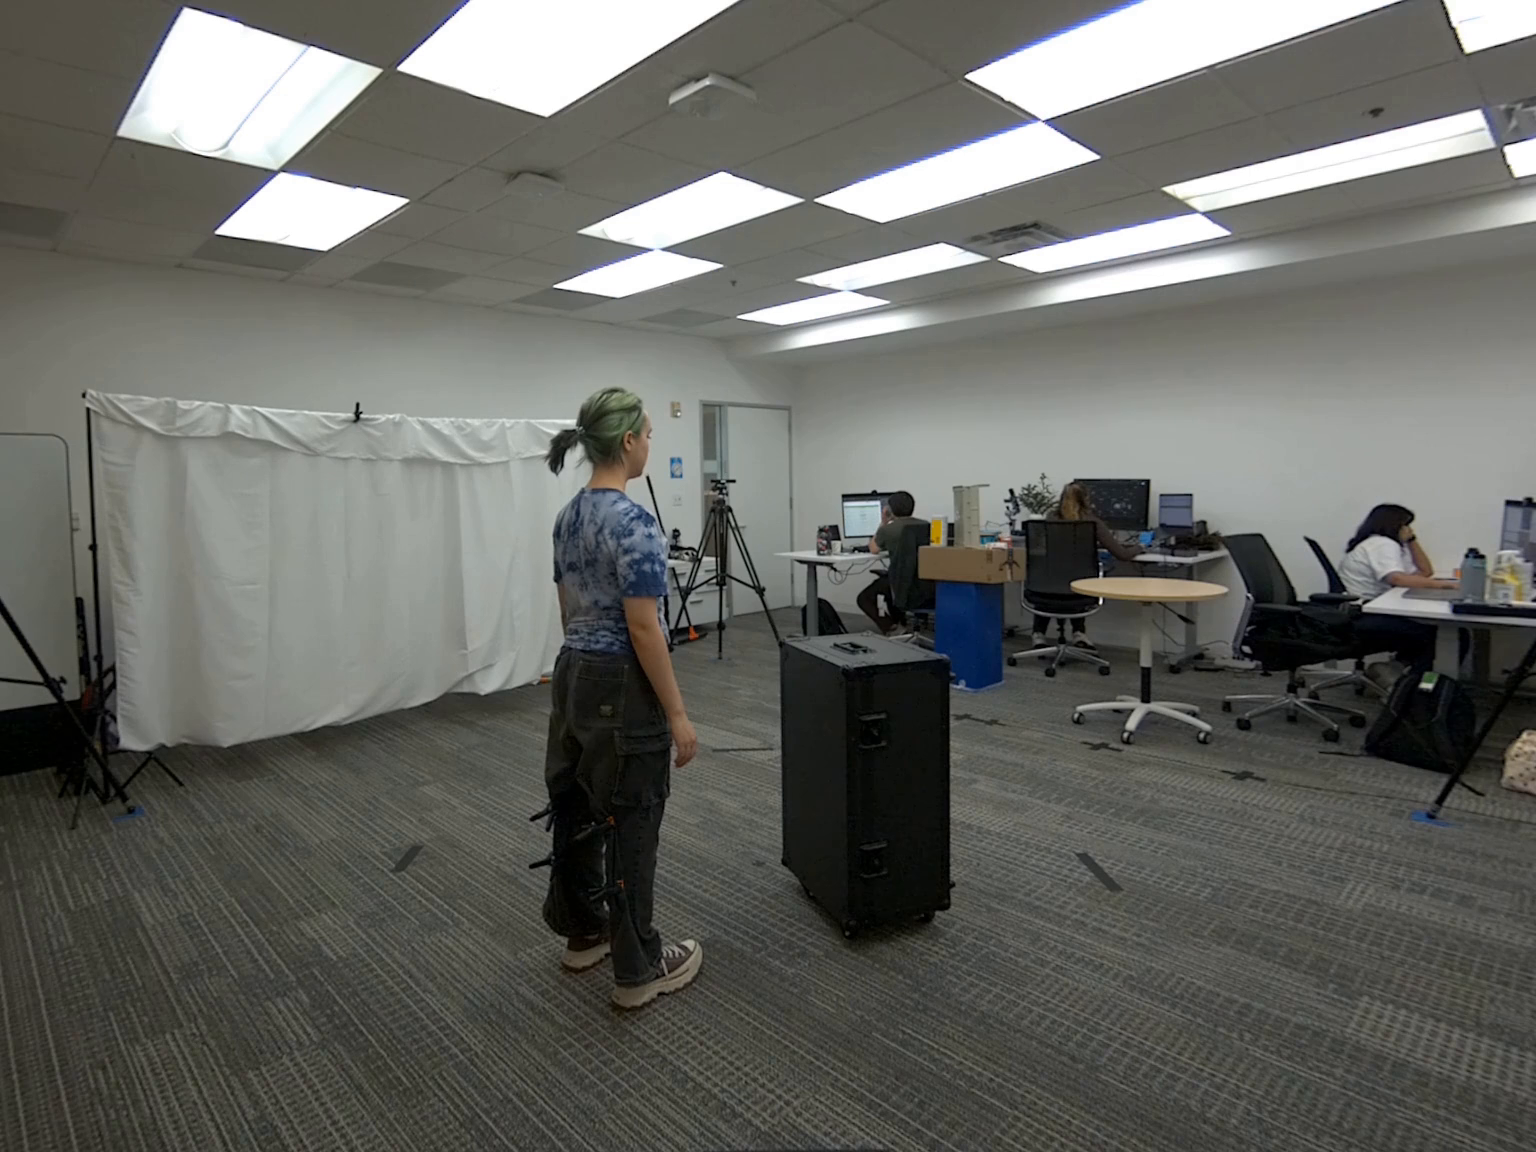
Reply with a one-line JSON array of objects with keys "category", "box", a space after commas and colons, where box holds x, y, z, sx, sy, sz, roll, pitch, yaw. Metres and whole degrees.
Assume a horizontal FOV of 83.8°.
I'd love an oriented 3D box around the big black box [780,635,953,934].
[{"category": "big black box", "box": [0.309, 0.594, 2.752, 0.389, 0.859, 0.533, -2, 4, -22]}]
